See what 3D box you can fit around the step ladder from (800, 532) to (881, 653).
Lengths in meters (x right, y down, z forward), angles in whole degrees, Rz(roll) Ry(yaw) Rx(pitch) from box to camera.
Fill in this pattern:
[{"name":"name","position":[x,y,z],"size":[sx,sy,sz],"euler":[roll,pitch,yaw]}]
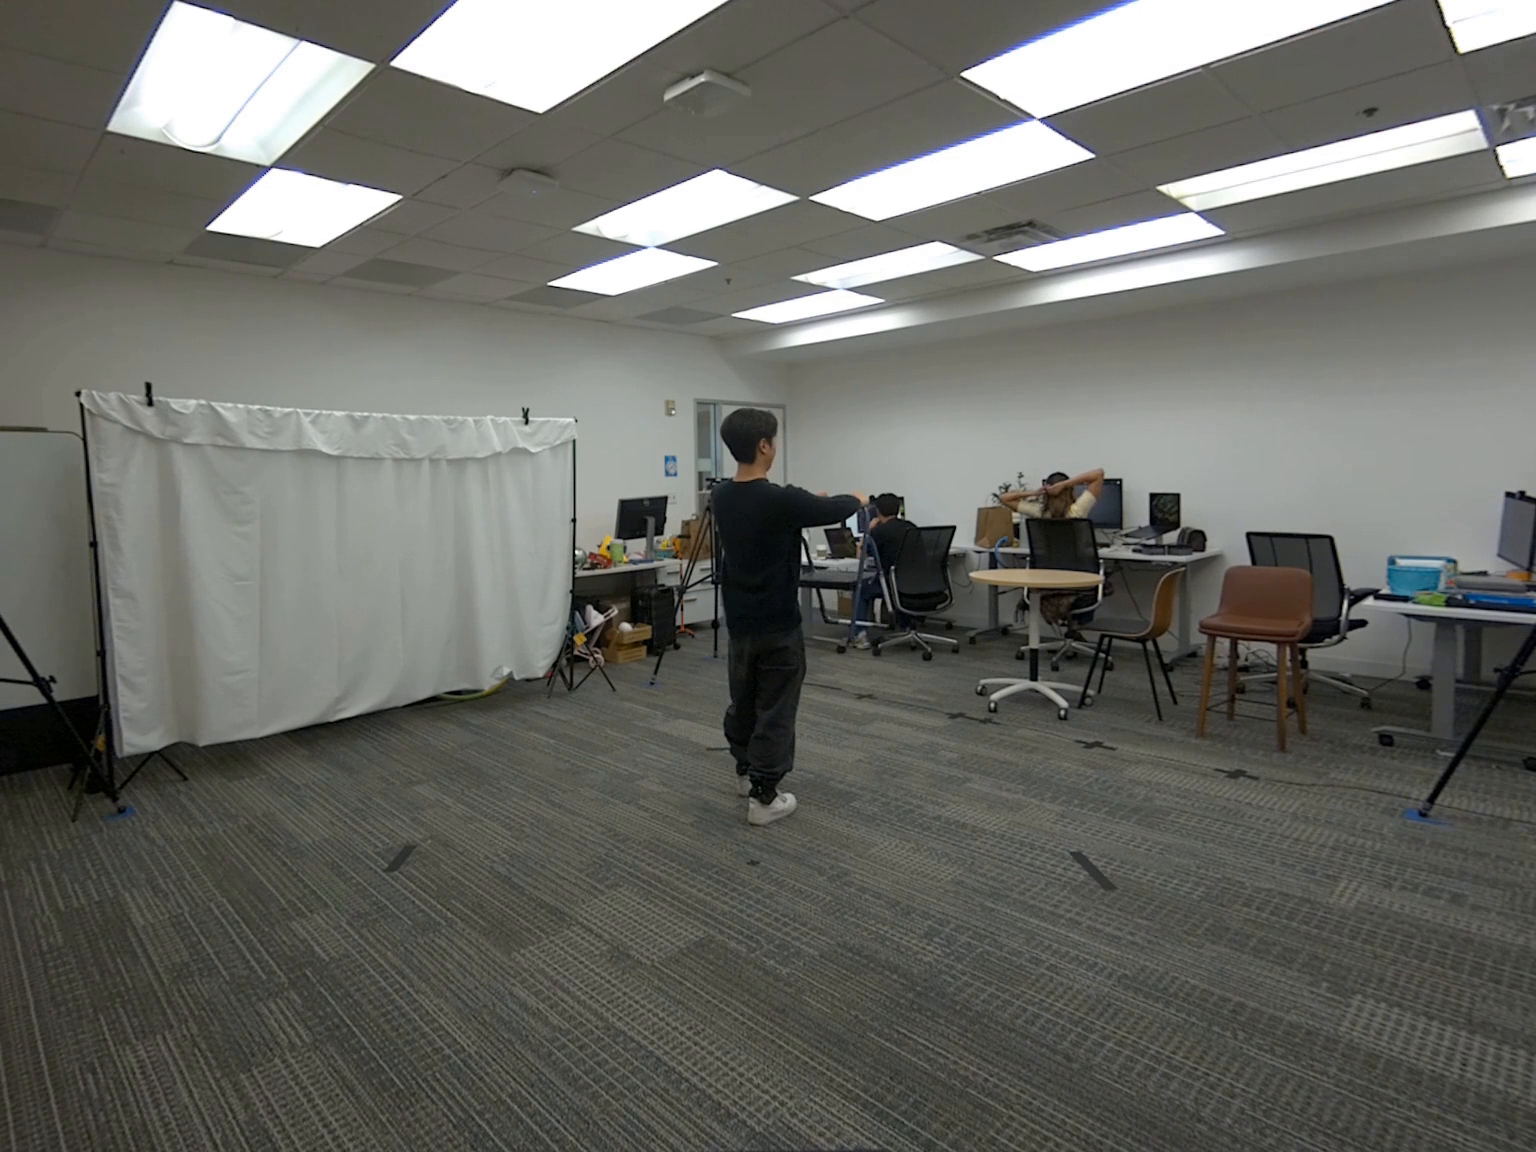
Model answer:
[{"name":"step ladder","position":[0.287,-0.042,3.791],"size":[0.443,0.603,0.340],"euler":[1,7,45]}]
